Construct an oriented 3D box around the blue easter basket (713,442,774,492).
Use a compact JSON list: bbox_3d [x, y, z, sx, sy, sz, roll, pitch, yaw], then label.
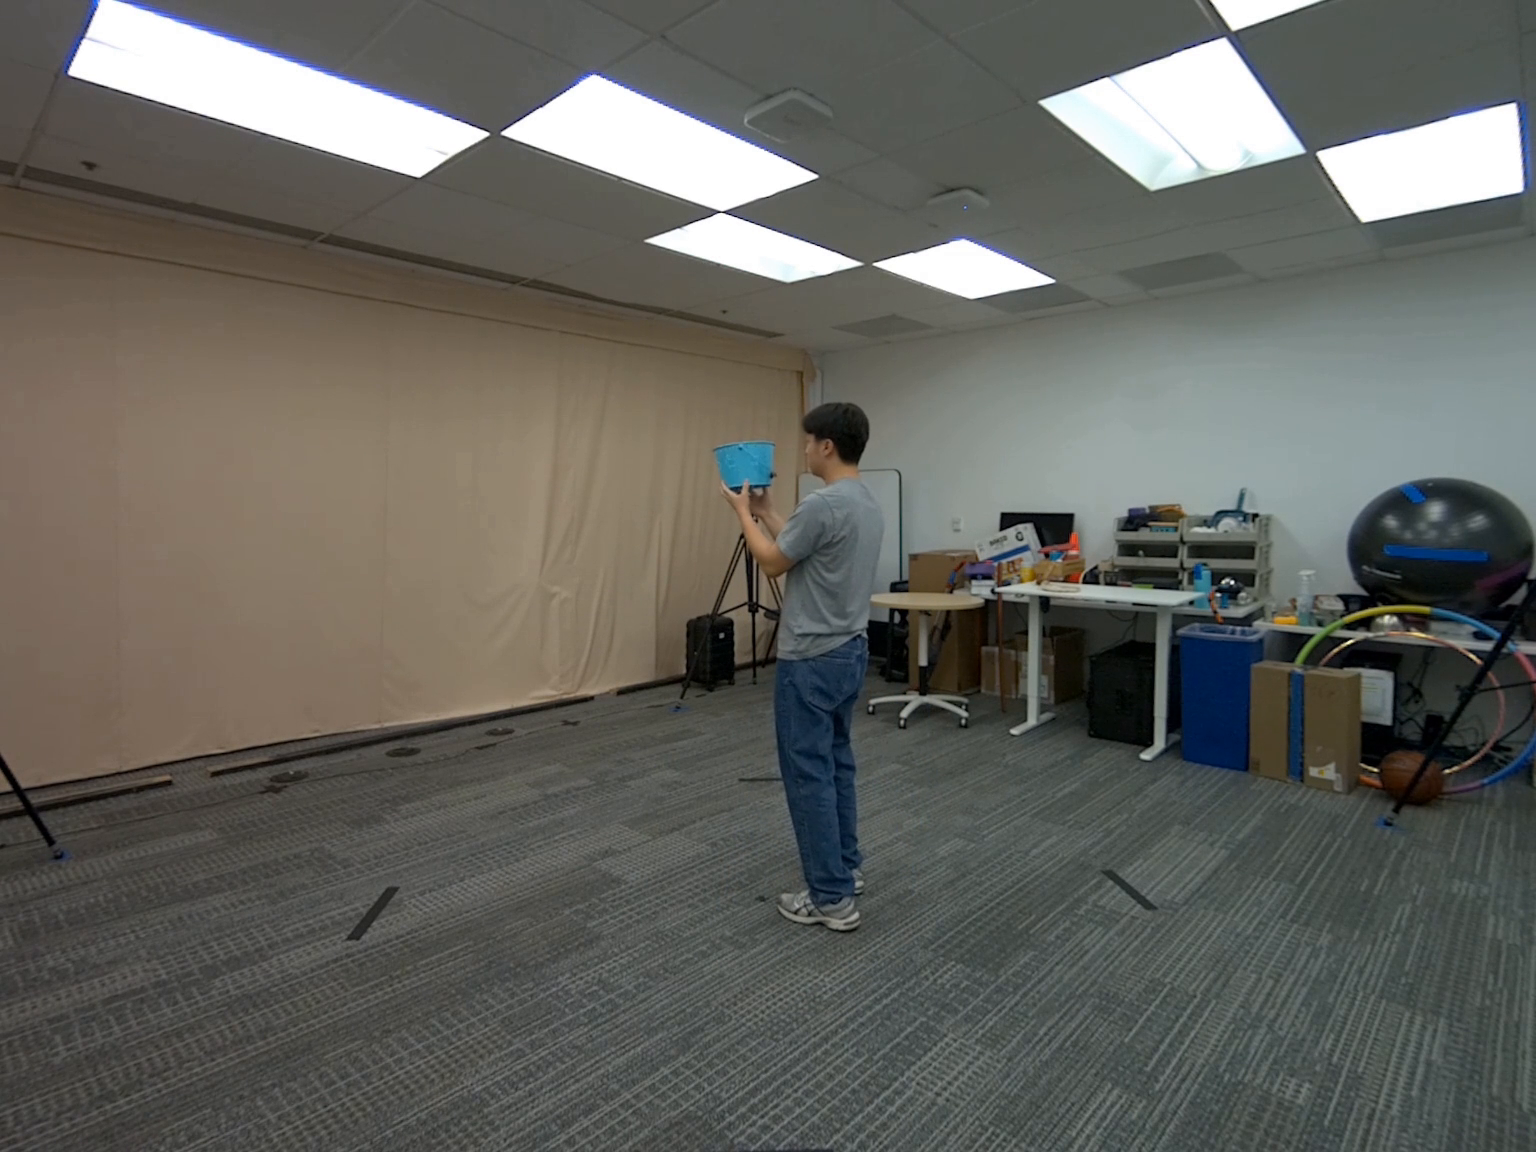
[{"bbox_3d":[-0.081,-0.407,3.127,0.243,0.156,0.244,-5,0,-2],"label":"blue easter basket"}]
